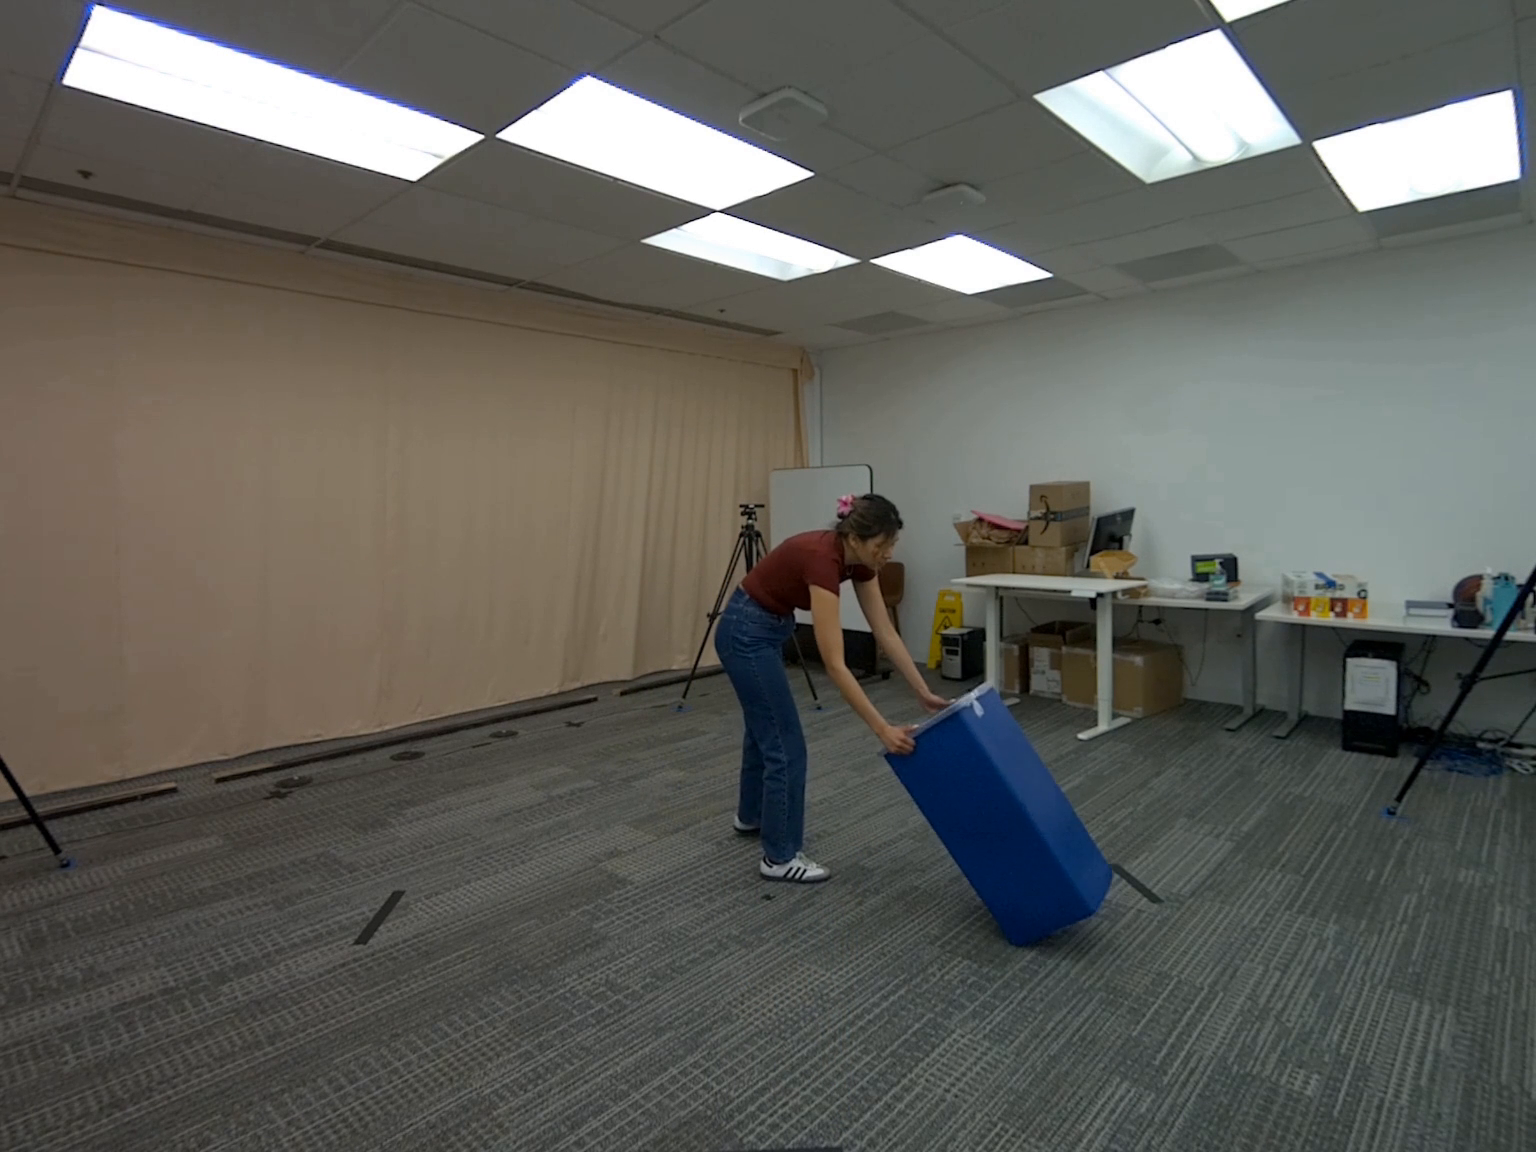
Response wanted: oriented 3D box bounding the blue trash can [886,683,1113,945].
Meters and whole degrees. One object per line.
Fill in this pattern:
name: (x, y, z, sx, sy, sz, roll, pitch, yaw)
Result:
blue trash can: (0.745, 0.768, 2.779, 0.378, 0.725, 0.368, -40, -17, 31)
